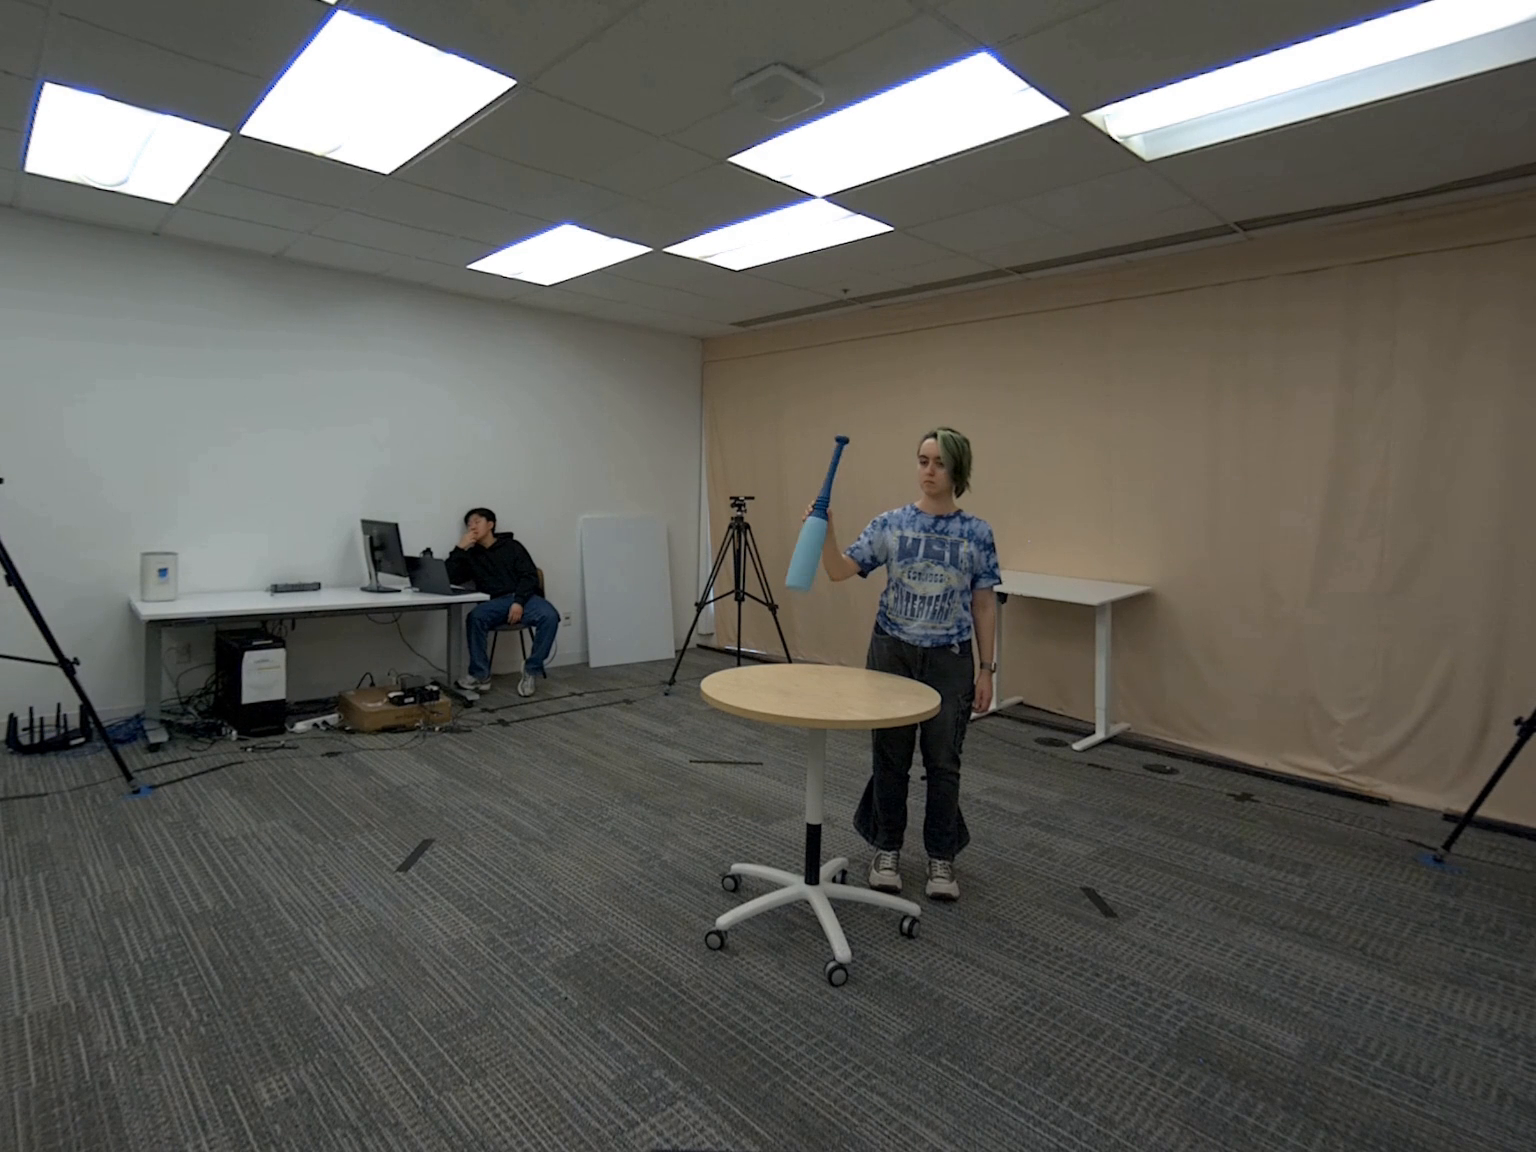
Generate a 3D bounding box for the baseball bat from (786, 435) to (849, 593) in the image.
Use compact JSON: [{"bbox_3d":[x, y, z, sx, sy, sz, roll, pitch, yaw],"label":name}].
[{"bbox_3d":[0.171,-0.209,2.778,0.089,0.545,0.089,16,-7,0],"label":"baseball bat"}]
